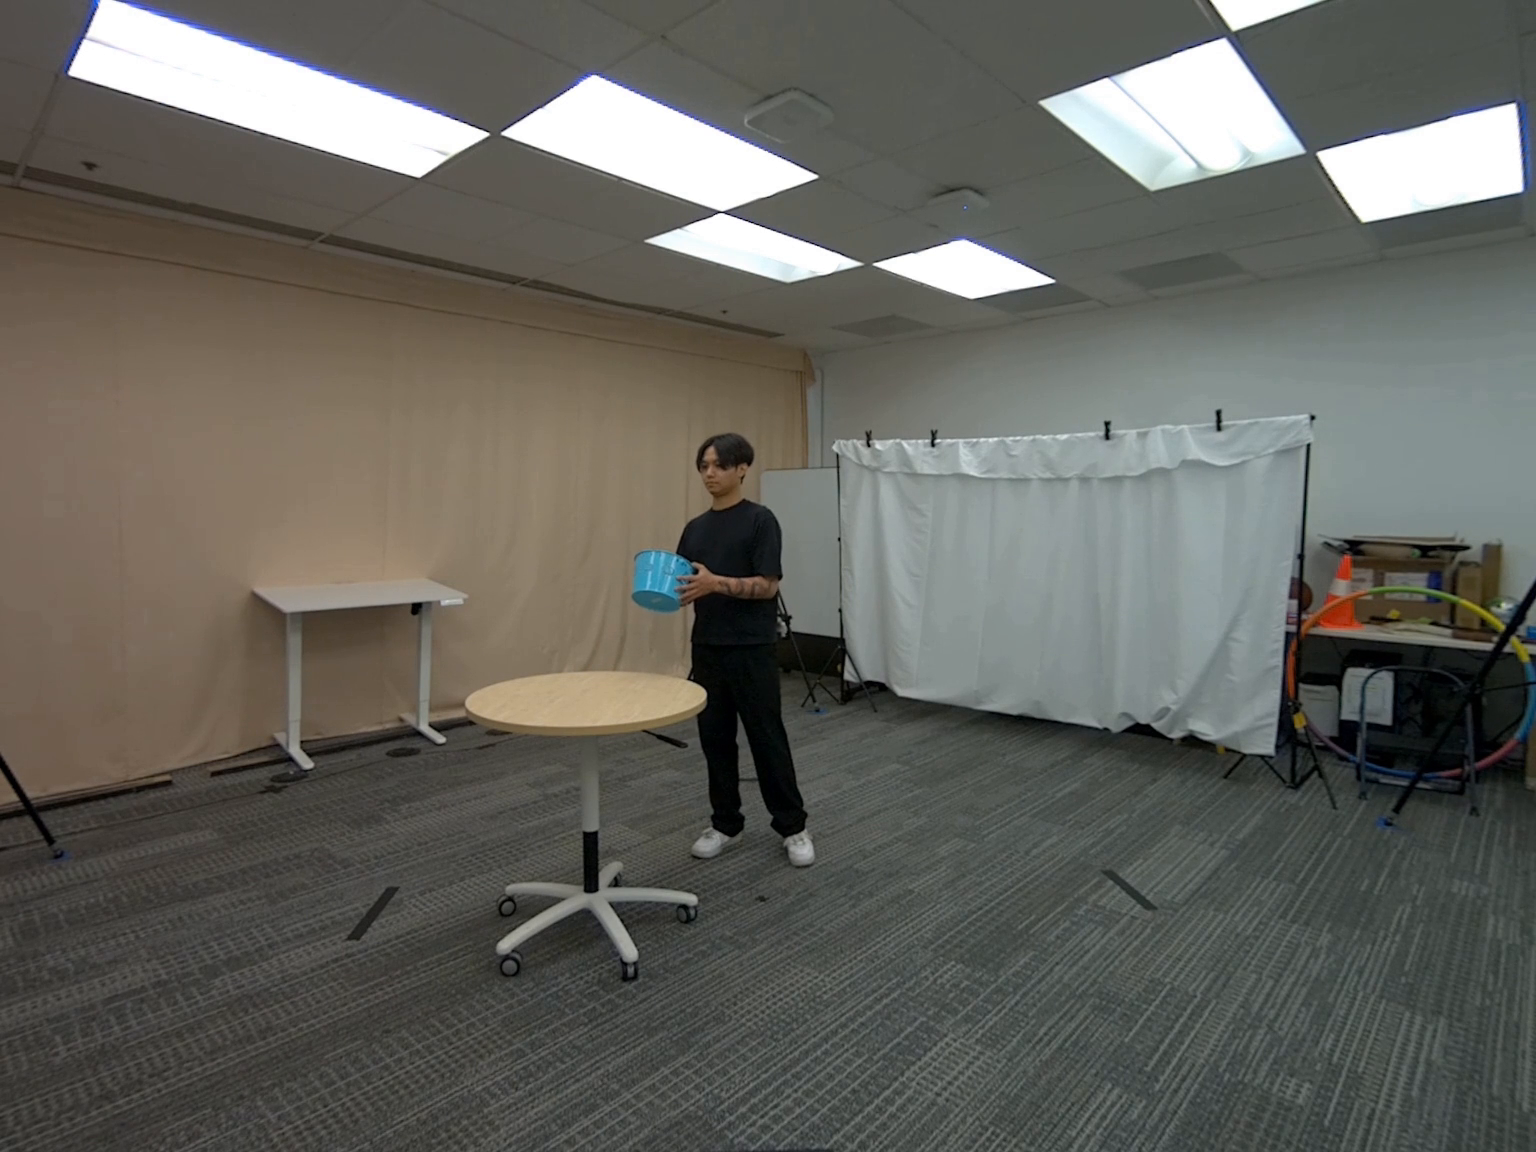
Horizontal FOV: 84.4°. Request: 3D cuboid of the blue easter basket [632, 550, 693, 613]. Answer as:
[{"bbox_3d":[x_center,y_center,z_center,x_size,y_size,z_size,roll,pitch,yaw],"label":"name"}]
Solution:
[{"bbox_3d":[-0.396,0.024,3.119,0.244,0.157,0.240,9,-26,2],"label":"blue easter basket"}]
